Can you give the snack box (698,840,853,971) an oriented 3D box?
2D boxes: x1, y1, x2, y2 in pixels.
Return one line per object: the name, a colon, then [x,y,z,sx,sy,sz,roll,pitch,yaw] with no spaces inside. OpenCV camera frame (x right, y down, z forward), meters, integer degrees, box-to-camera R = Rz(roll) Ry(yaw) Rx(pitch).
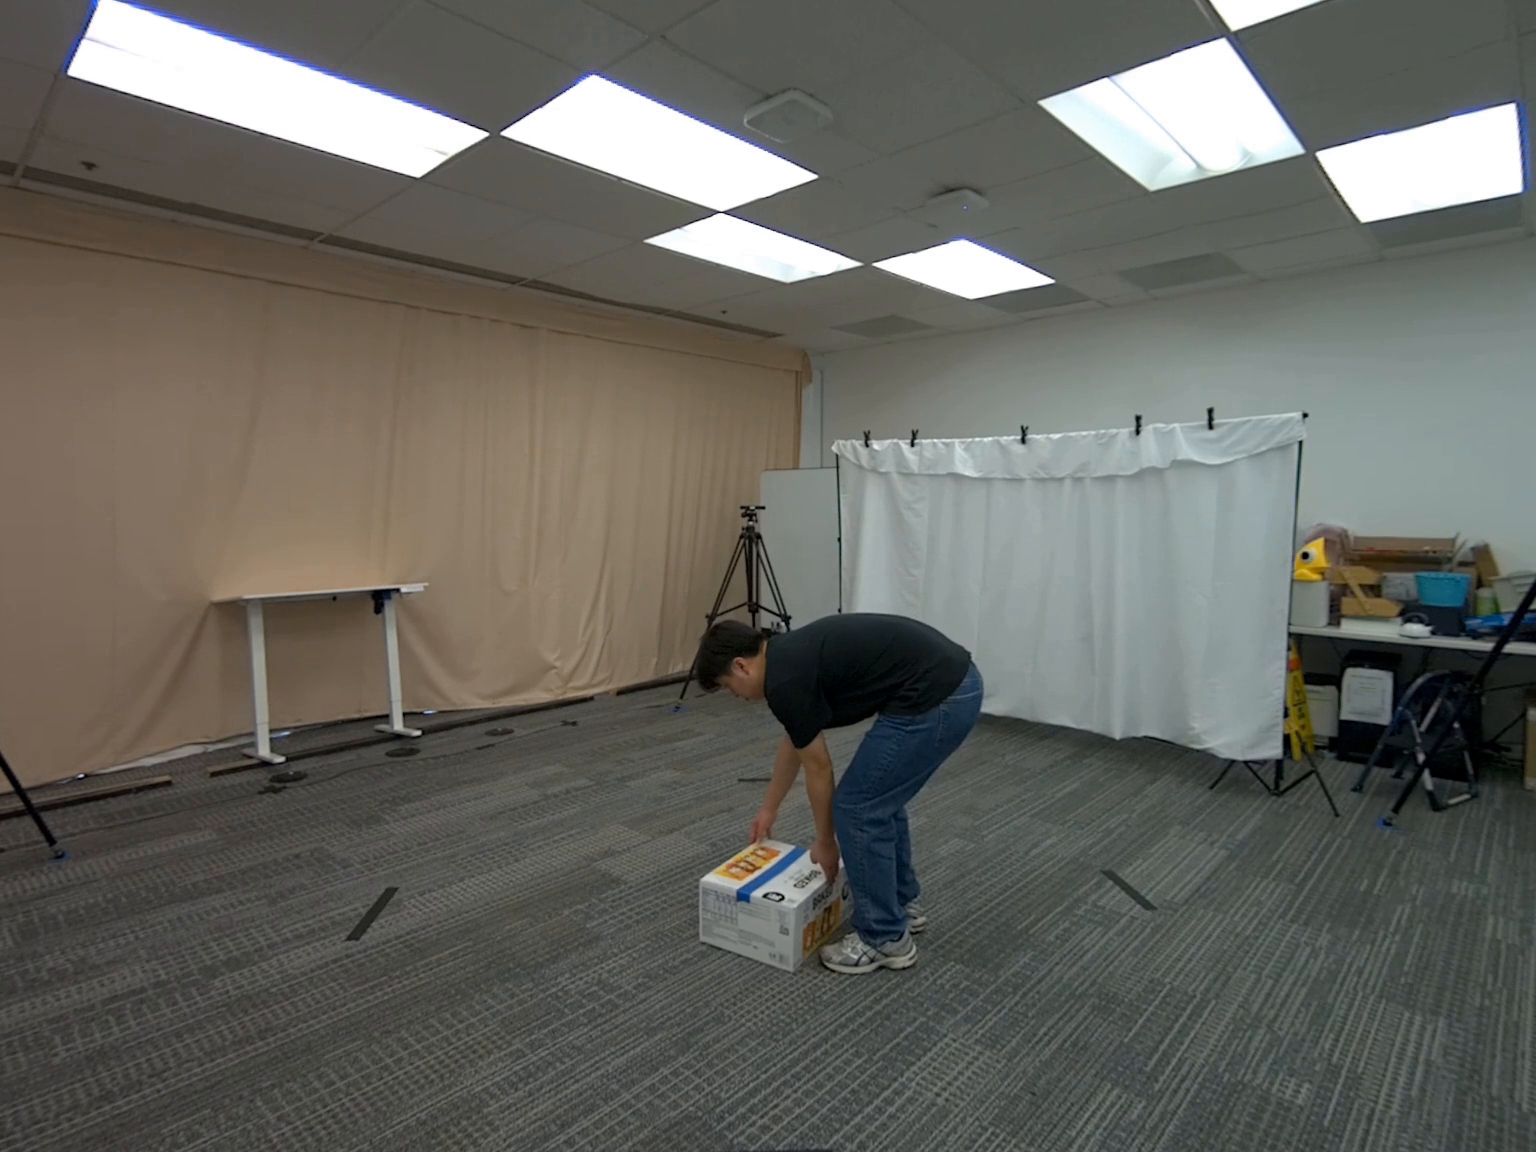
snack box: [0.031,1.059,2.755,0.350,0.205,0.394,3,5,32]
